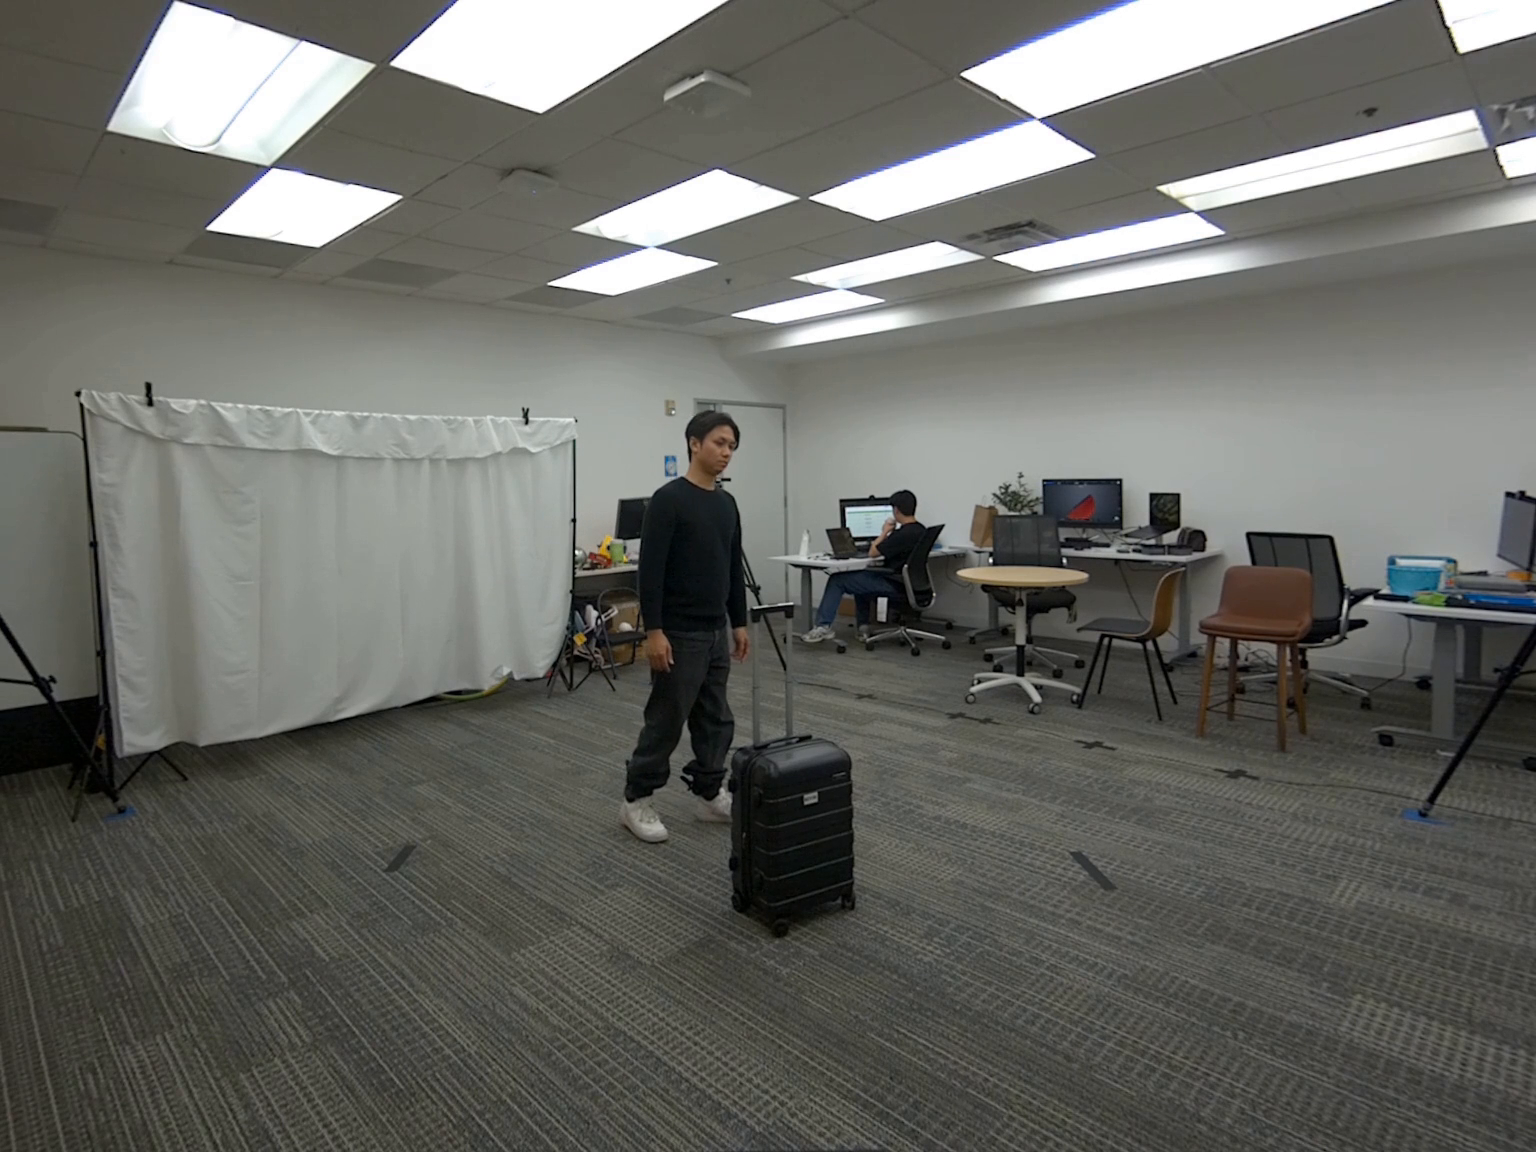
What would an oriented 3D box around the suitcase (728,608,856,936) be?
[{"bbox_3d":[0.083,0.606,2.734,0.375,0.973,0.264,-4,7,-30],"label":"suitcase"}]
